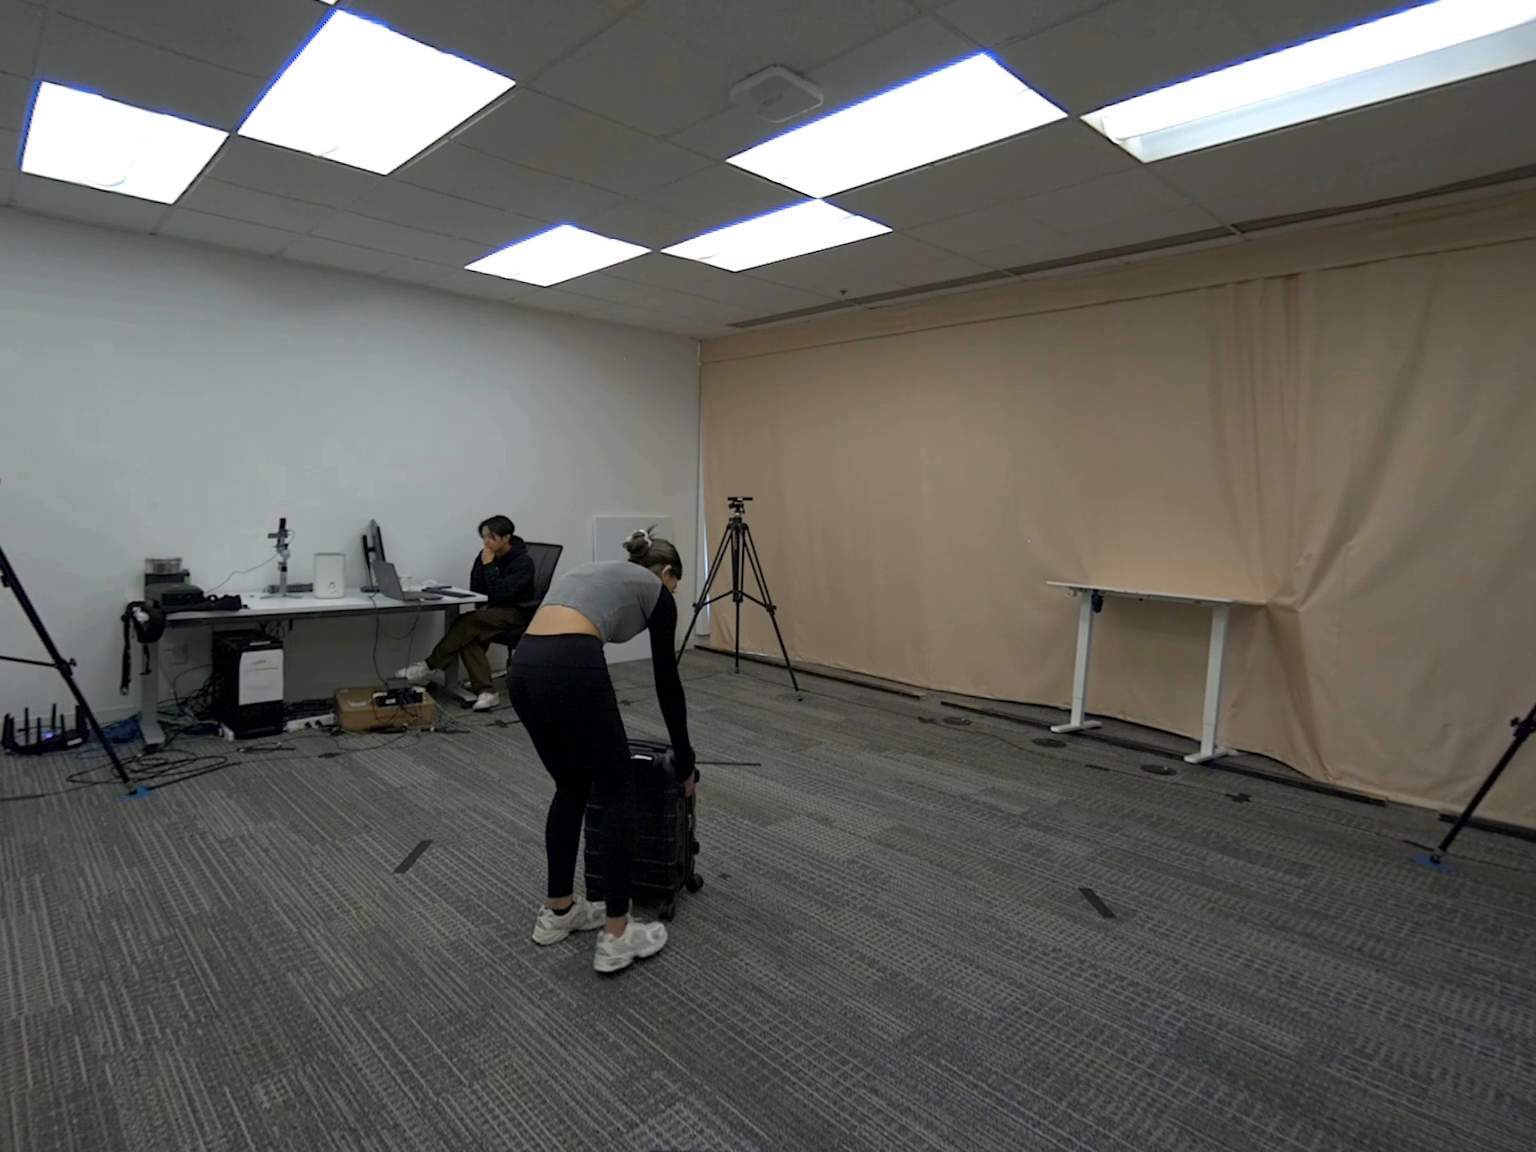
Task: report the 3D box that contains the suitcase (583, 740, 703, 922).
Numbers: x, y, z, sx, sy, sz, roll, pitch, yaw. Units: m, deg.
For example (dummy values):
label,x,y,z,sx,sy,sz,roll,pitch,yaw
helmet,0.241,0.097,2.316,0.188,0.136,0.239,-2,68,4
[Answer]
label,x,y,z,sx,sy,sz,roll,pitch,yaw
suitcase,-0.447,0.845,2.921,0.380,0.548,0.245,1,3,17
